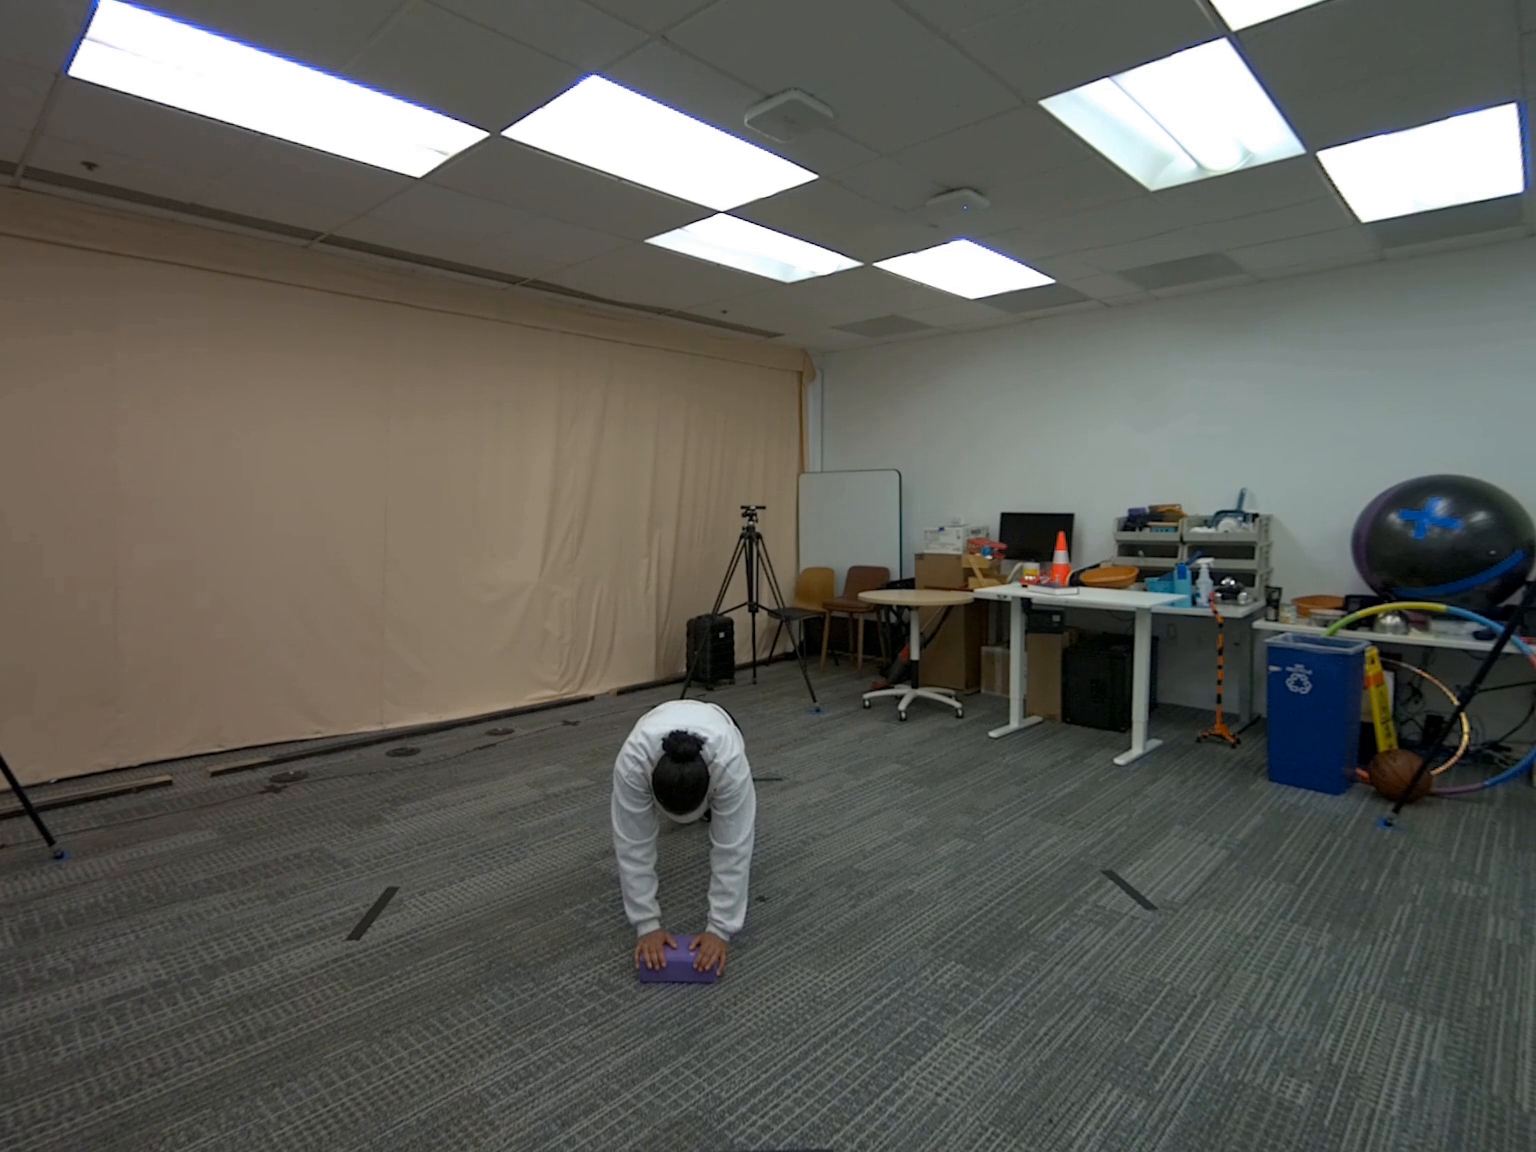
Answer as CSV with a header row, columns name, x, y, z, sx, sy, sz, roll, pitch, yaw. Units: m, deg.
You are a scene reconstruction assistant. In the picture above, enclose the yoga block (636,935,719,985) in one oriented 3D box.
name,x,y,z,sx,sy,sz,roll,pitch,yaw
yoga block,-0.269,1.136,2.527,0.230,0.076,0.149,3,5,1
